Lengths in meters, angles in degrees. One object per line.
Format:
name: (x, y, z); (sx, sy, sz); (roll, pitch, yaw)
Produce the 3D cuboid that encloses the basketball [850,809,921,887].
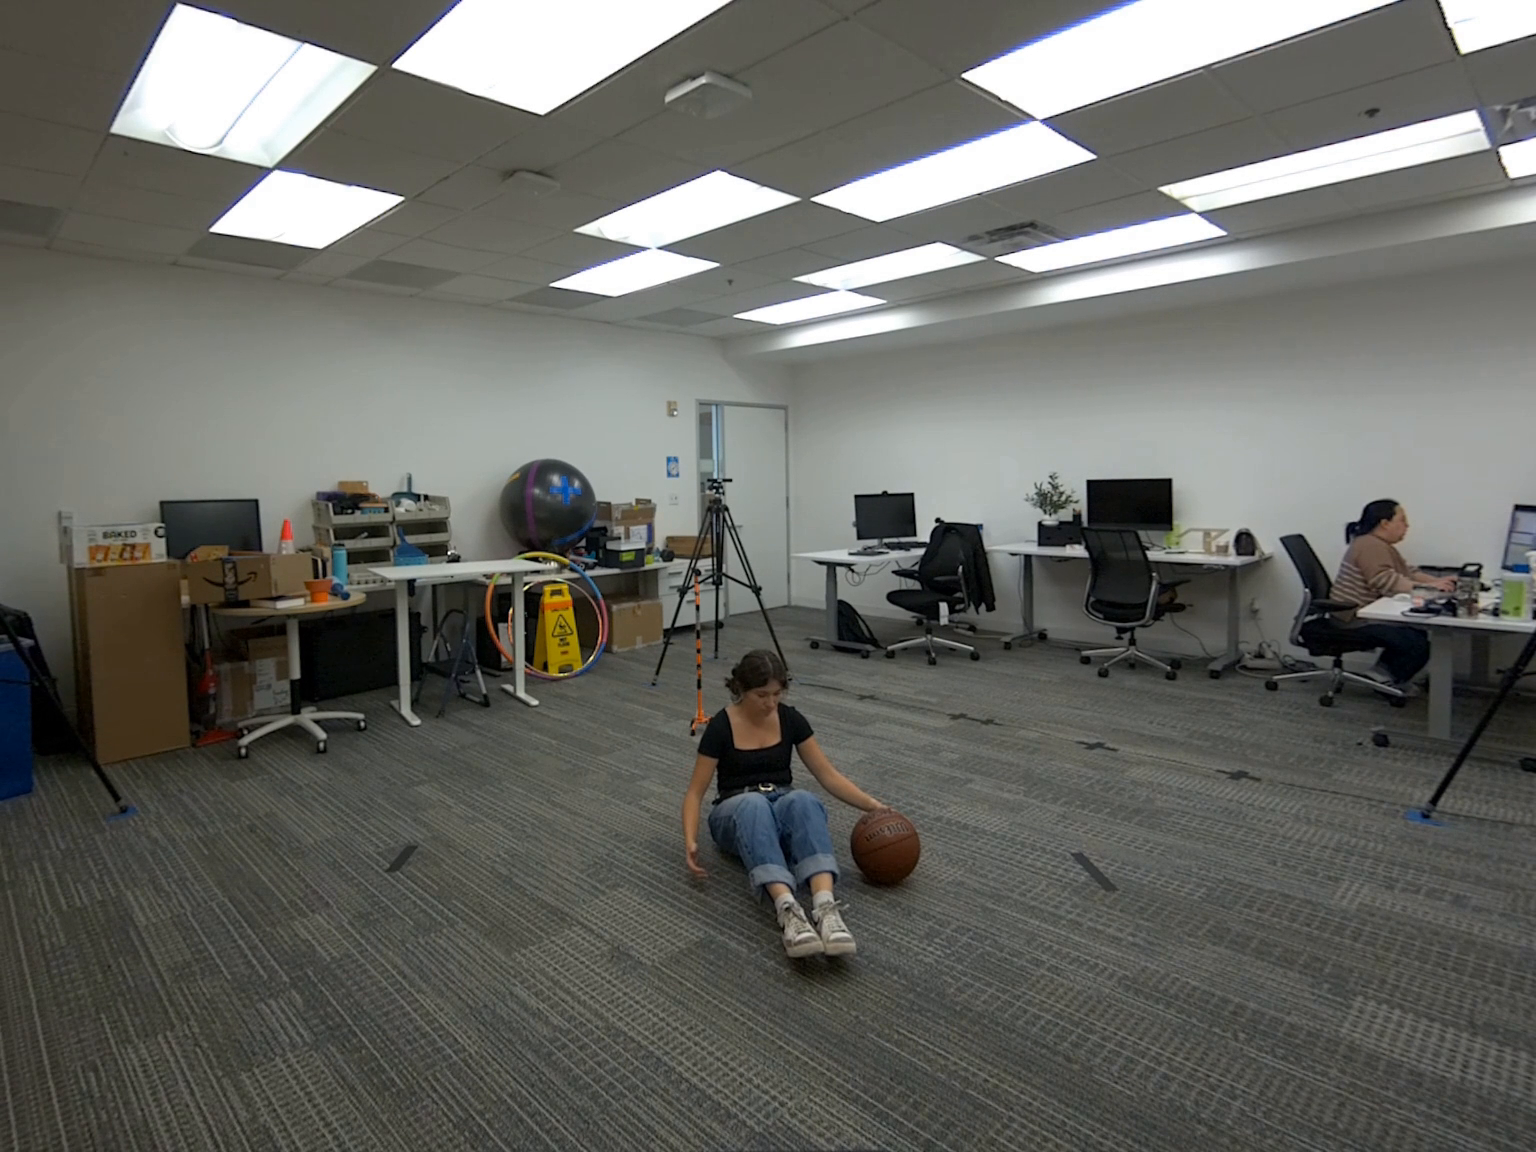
basketball: (0.402, 0.934, 2.953); (0.236, 0.235, 0.237); (-1, 5, -2)
